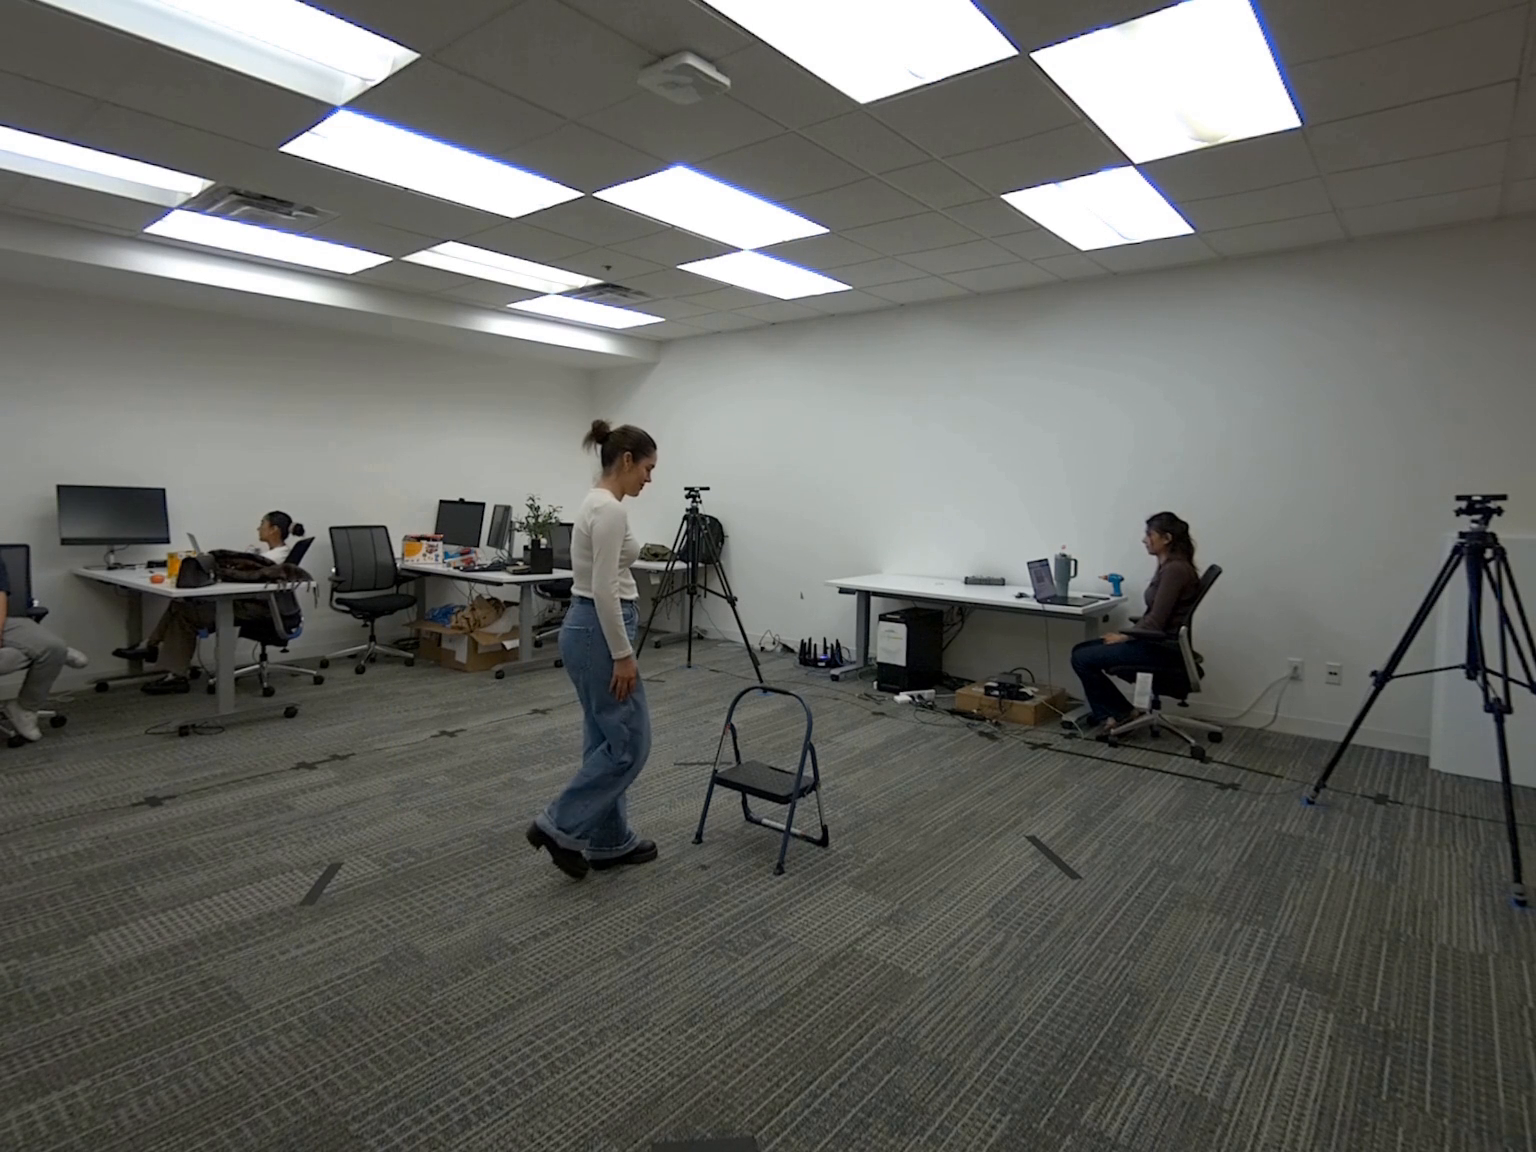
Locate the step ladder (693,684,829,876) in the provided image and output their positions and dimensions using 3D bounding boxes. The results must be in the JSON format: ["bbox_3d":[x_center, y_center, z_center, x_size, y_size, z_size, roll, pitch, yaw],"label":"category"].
[{"bbox_3d":[-0.027,0.745,3.315,0.445,0.604,0.339,4,5,38],"label":"step ladder"}]
